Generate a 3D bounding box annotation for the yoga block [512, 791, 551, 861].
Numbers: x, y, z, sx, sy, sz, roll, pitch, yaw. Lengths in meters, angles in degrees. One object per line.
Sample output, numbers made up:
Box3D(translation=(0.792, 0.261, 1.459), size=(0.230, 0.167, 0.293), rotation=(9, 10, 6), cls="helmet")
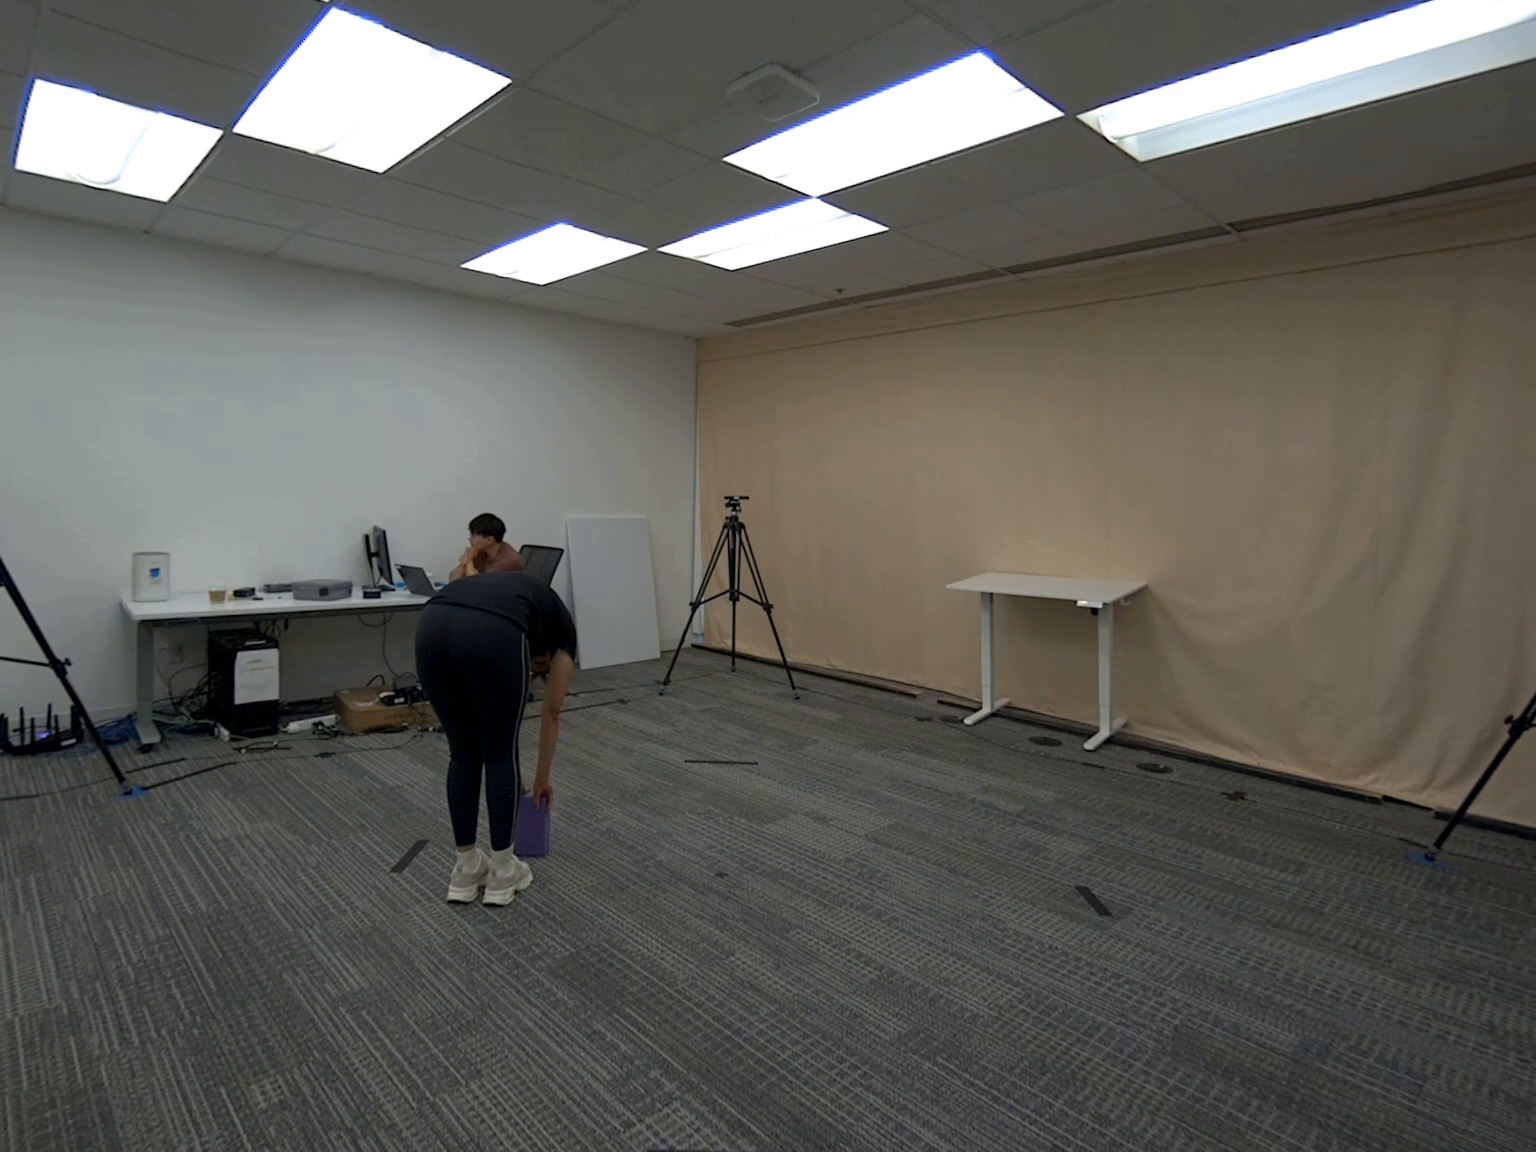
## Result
Box3D(translation=(-0.930, 0.965, 3.254), size=(0.150, 0.229, 0.076), rotation=(3, 4, 5), cls="yoga block")
